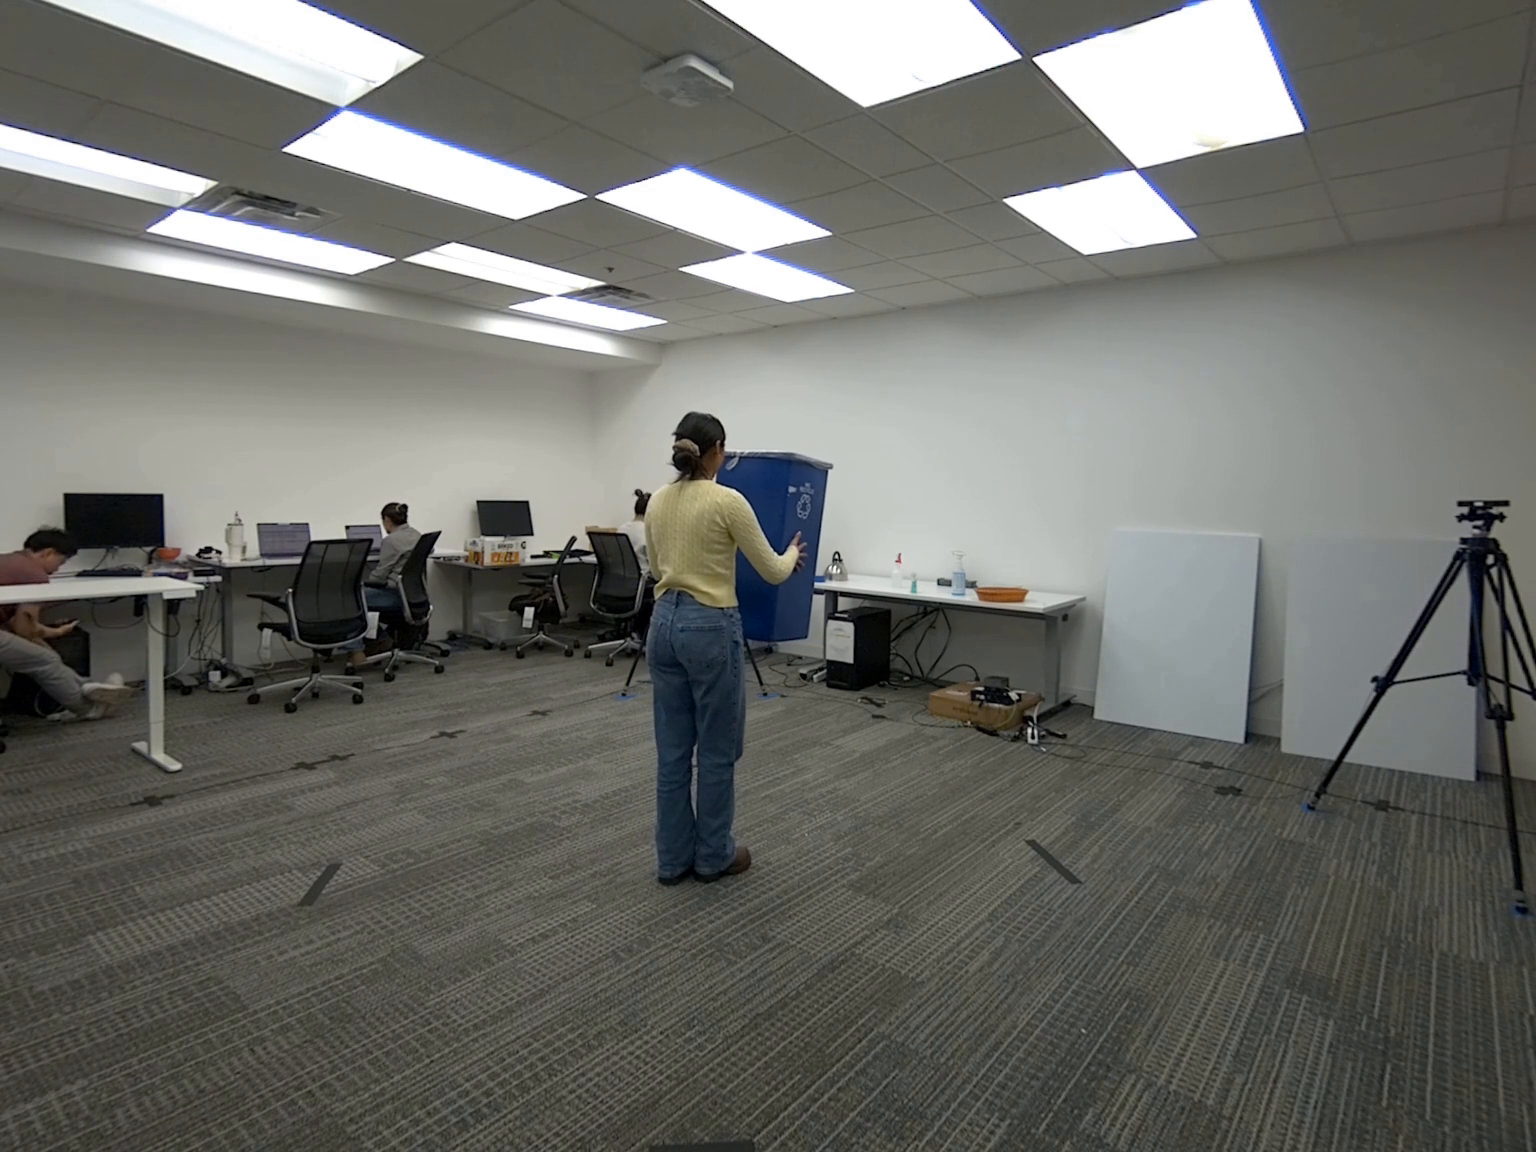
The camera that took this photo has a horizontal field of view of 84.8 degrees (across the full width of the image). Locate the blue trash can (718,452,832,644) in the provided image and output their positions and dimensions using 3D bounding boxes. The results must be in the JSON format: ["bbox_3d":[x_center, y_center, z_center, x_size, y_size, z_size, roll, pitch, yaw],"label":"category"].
[{"bbox_3d":[-0.014,-0.124,3.383,0.390,0.713,0.363,6,1,32],"label":"blue trash can"}]
